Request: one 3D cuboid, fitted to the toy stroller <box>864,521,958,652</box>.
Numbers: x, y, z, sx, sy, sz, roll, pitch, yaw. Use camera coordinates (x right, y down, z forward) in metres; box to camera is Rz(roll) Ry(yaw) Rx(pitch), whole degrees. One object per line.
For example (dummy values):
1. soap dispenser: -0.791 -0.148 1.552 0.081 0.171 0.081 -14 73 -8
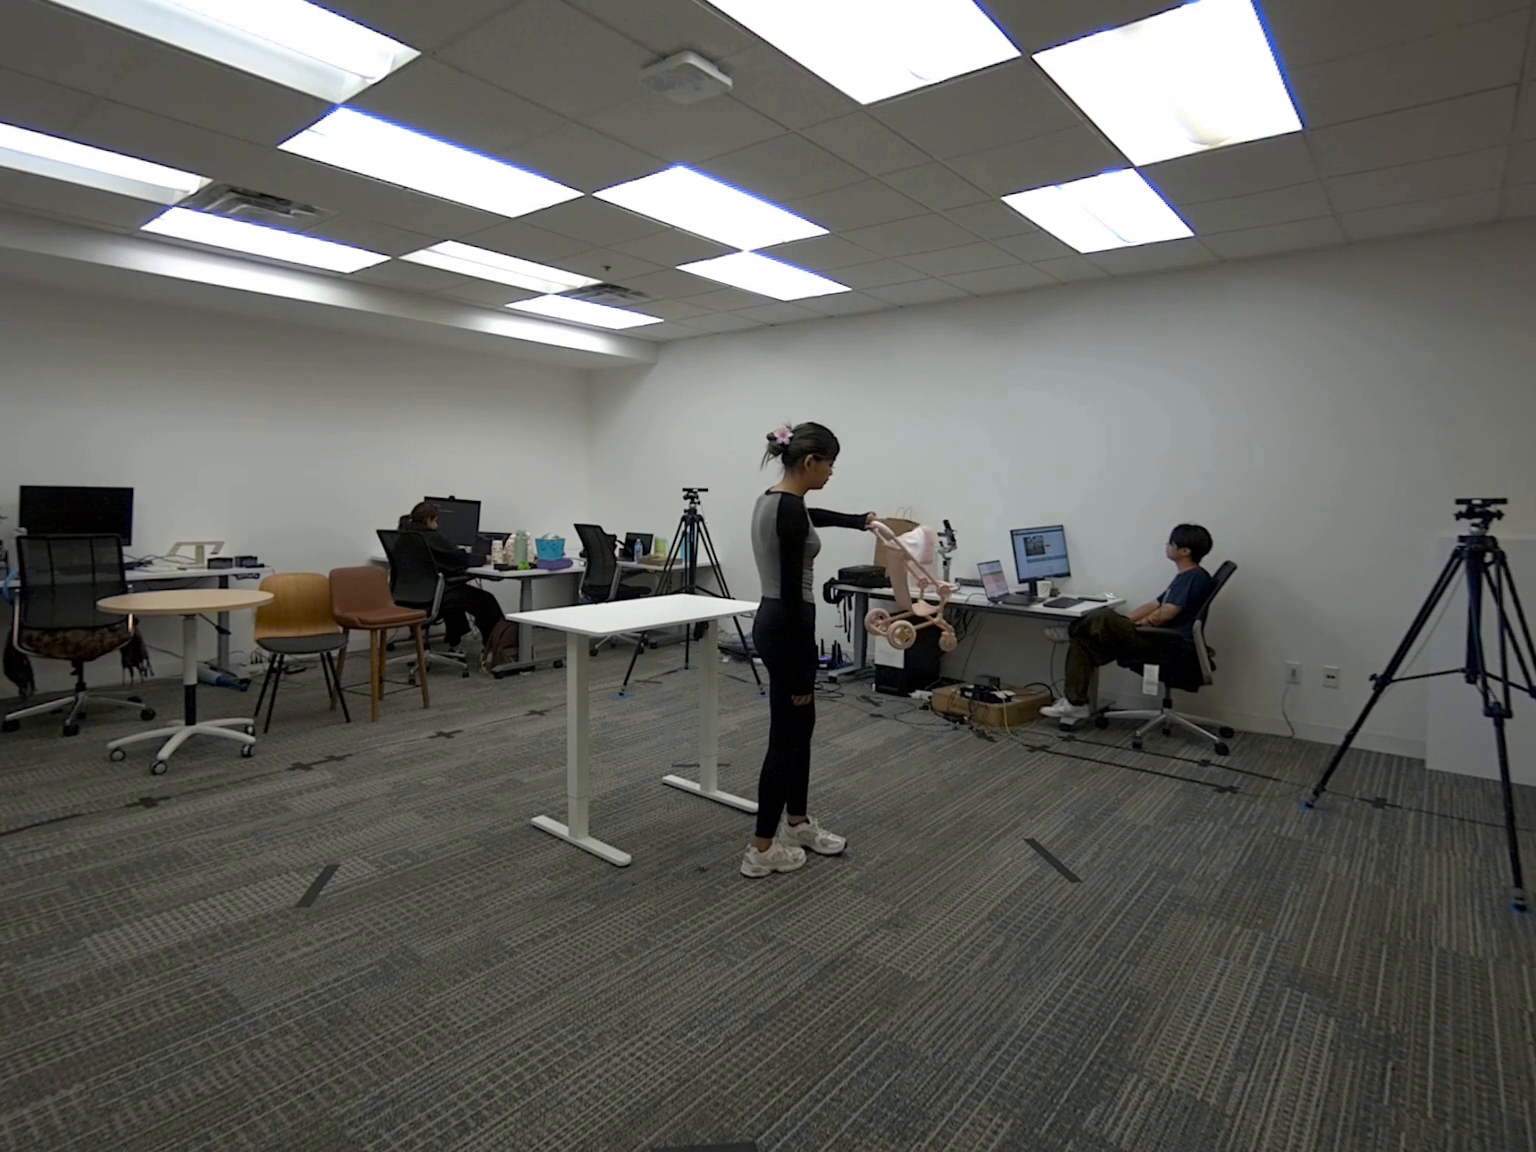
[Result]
1. toy stroller: 0.569 0.043 3.292 0.339 0.532 0.285 -4 6 -7
